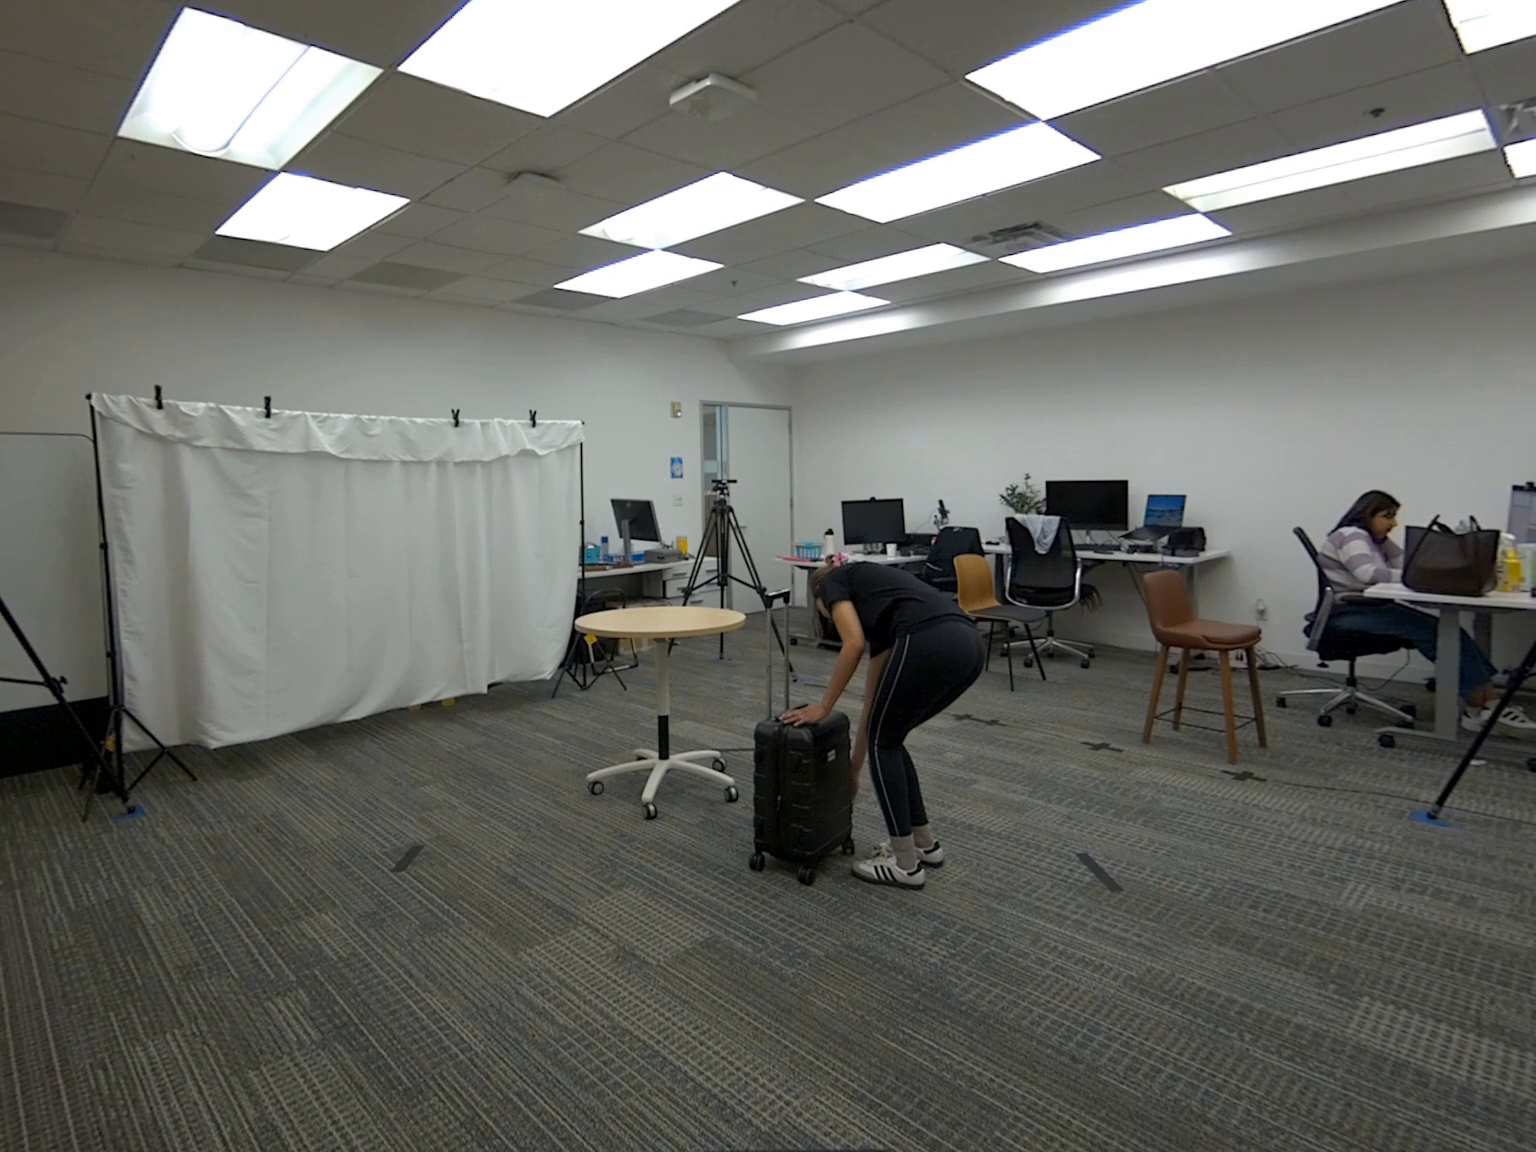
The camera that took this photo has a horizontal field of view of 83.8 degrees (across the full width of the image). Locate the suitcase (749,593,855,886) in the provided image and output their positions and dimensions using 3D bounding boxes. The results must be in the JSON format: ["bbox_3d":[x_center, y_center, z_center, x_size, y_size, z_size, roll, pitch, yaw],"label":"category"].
[{"bbox_3d":[0.134,0.560,3.124,0.264,0.976,0.374,1,3,33],"label":"suitcase"}]
